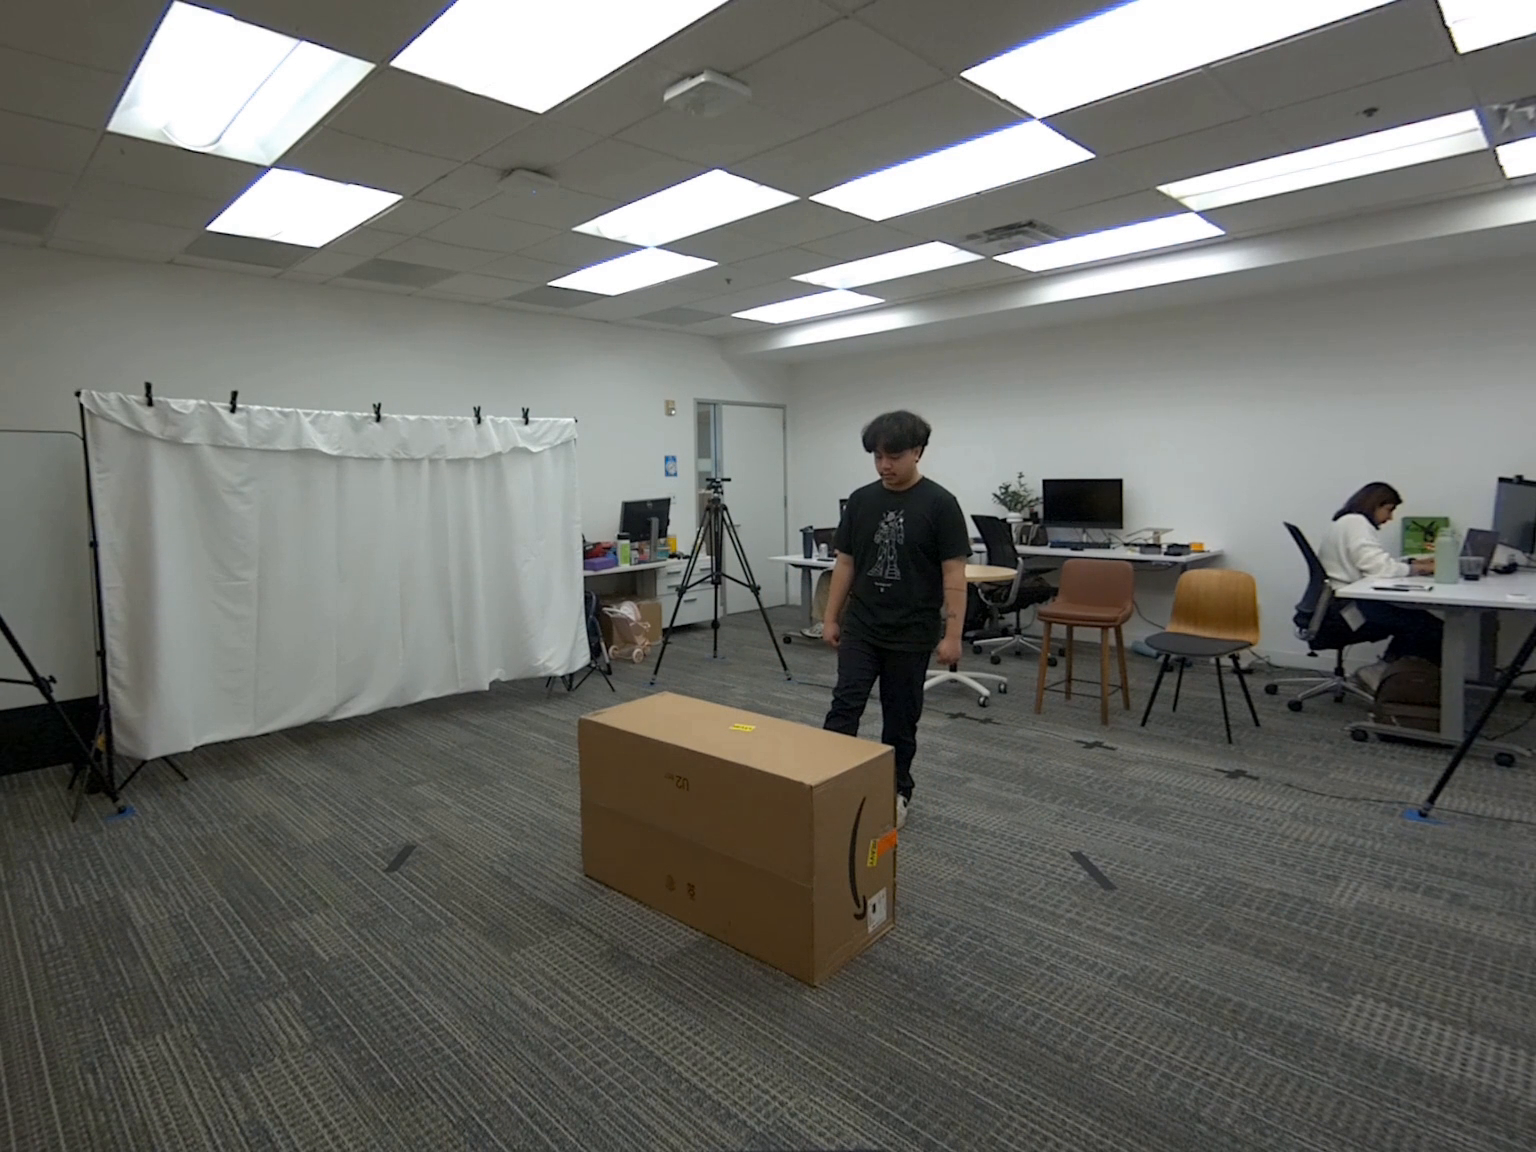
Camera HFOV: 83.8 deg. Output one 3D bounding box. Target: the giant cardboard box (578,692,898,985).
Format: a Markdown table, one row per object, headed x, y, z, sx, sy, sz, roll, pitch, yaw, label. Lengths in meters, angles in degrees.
| x | y | z | sx | sy | sz | roll | pitch | yaw | label |
| --- | --- | --- | --- | --- | --- | --- | --- | --- | --- |
| -0.133 | 0.792 | 2.817 | 1.059 | 0.582 | 0.435 | 5 | 6 | 41 | giant cardboard box |
